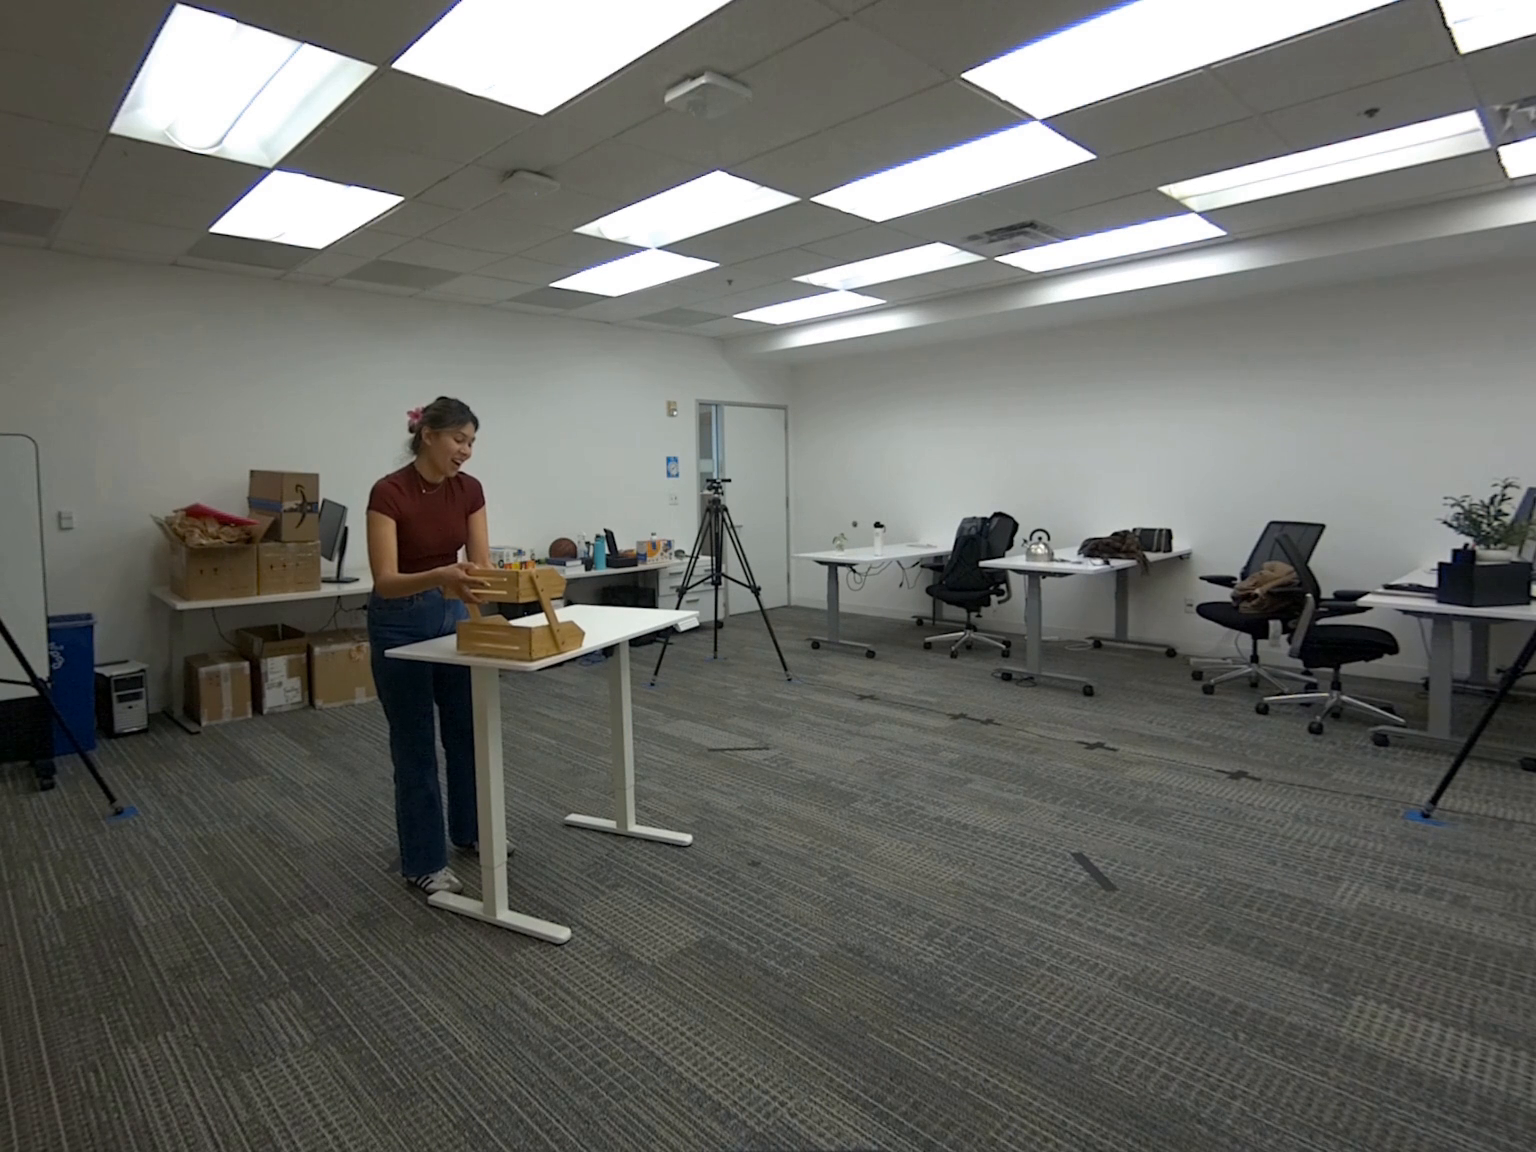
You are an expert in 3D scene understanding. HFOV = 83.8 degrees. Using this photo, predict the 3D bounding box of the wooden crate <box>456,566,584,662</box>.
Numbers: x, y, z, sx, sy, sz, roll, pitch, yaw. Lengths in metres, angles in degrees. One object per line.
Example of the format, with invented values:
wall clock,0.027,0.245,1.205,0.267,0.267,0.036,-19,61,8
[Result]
wooden crate,-0.775,0.095,2.621,0.332,0.273,0.296,1,4,27
